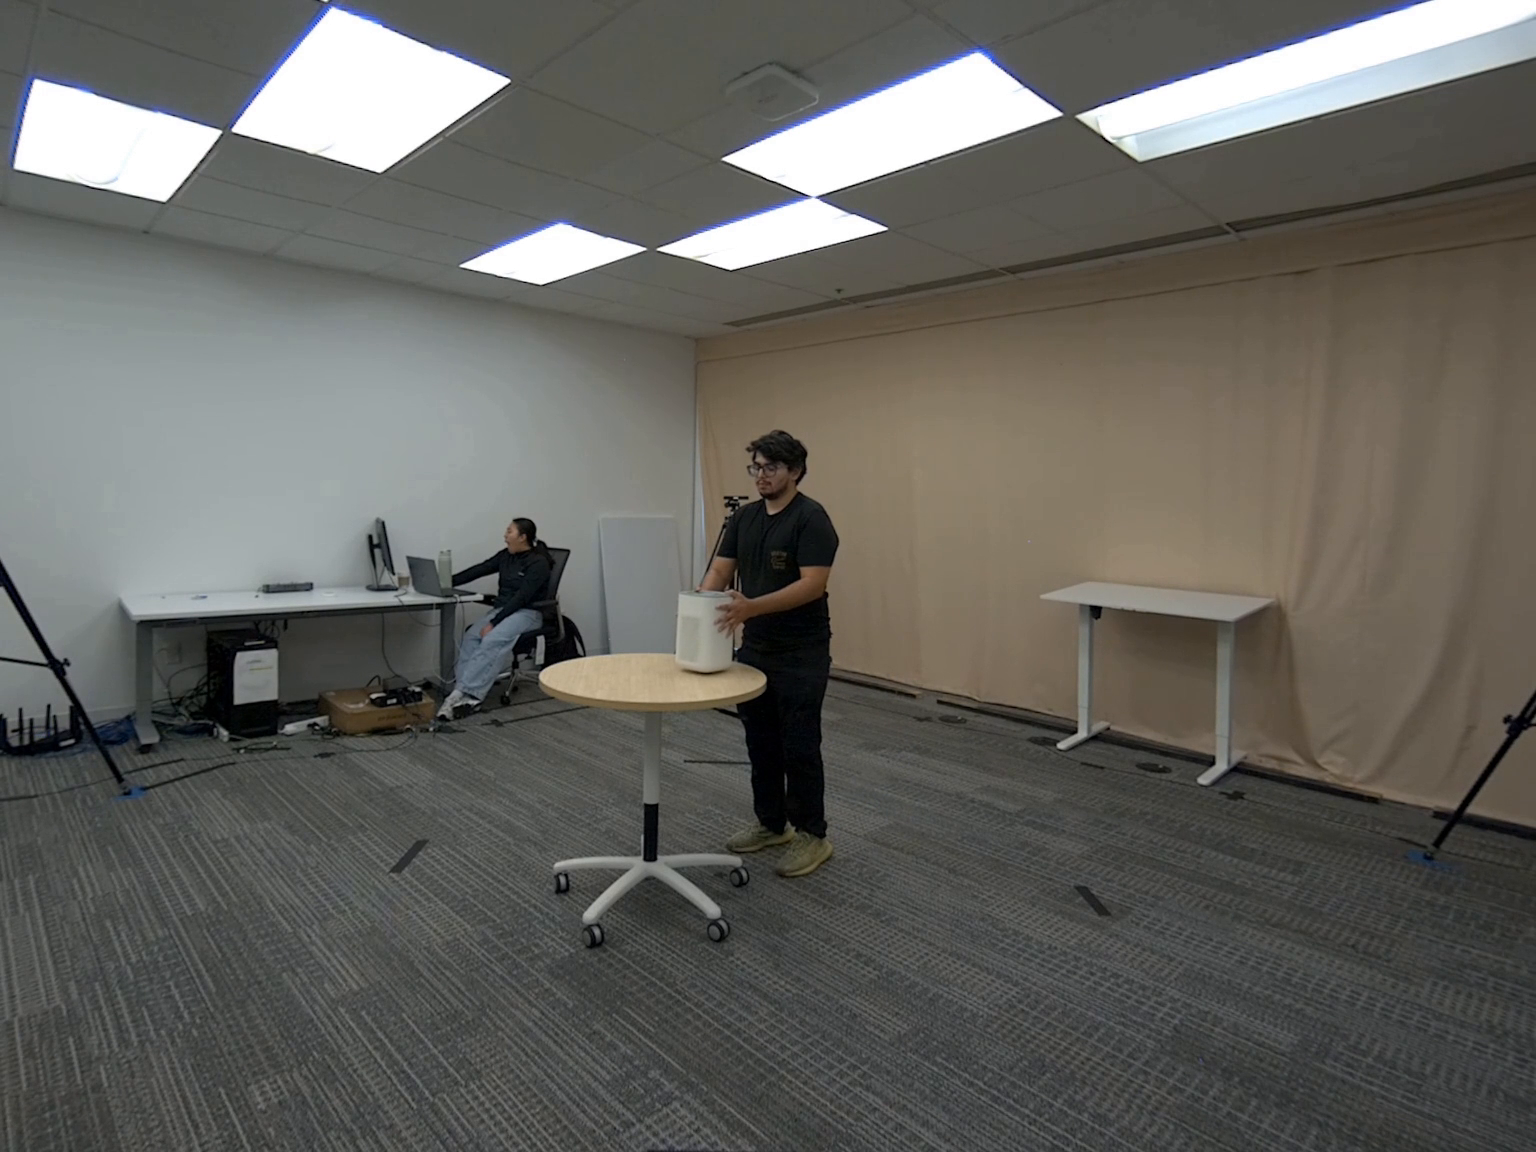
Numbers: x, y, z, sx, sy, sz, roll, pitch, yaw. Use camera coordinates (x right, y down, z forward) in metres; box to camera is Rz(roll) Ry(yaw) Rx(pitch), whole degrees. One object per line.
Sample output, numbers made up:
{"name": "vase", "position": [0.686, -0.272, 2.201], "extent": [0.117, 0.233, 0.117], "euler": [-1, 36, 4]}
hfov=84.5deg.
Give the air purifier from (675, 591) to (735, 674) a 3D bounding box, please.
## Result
{"name": "air purifier", "position": [-0.223, 0.193, 2.942], "extent": [0.175, 0.265, 0.167], "euler": [3, 1, 35]}
